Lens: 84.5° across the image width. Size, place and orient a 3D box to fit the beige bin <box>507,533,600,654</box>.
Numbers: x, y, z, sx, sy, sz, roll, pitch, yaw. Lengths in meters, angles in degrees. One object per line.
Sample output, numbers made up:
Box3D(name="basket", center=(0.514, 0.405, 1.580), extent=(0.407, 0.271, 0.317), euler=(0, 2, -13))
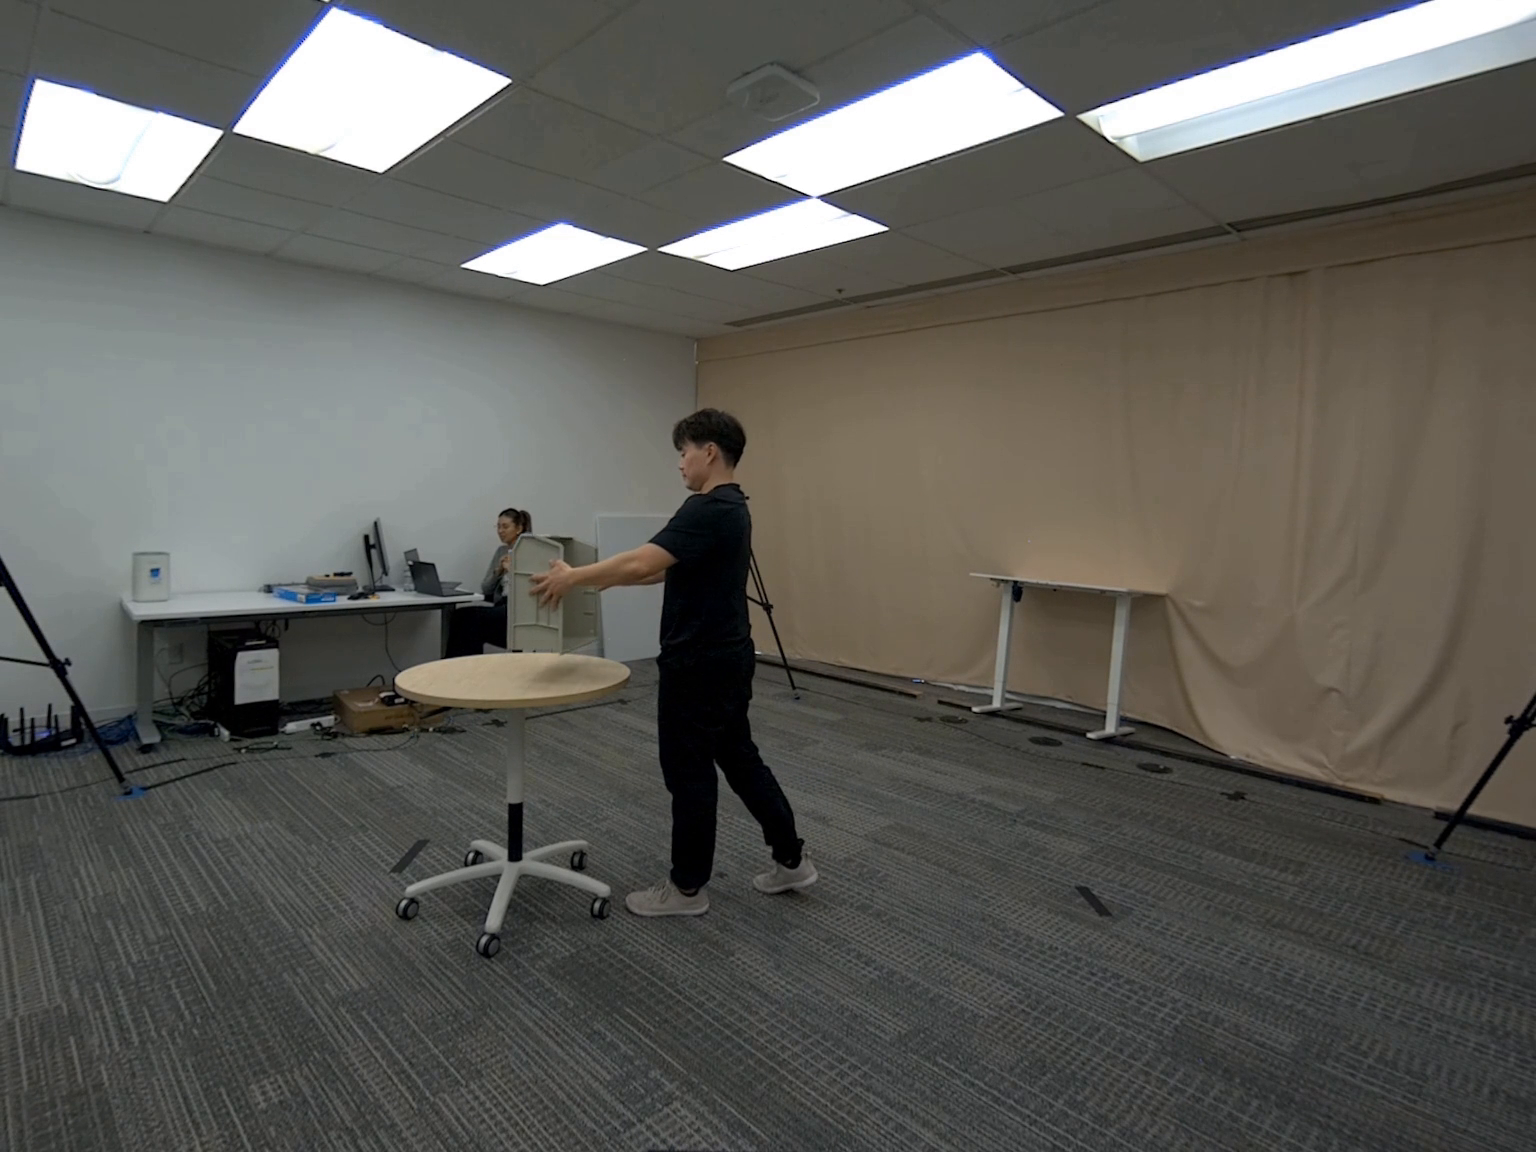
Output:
Box3D(name="beige bin", center=(-0.718, 0.053, 2.843), extent=(0.190, 0.377, 0.421), euler=(2, 1, 3))
